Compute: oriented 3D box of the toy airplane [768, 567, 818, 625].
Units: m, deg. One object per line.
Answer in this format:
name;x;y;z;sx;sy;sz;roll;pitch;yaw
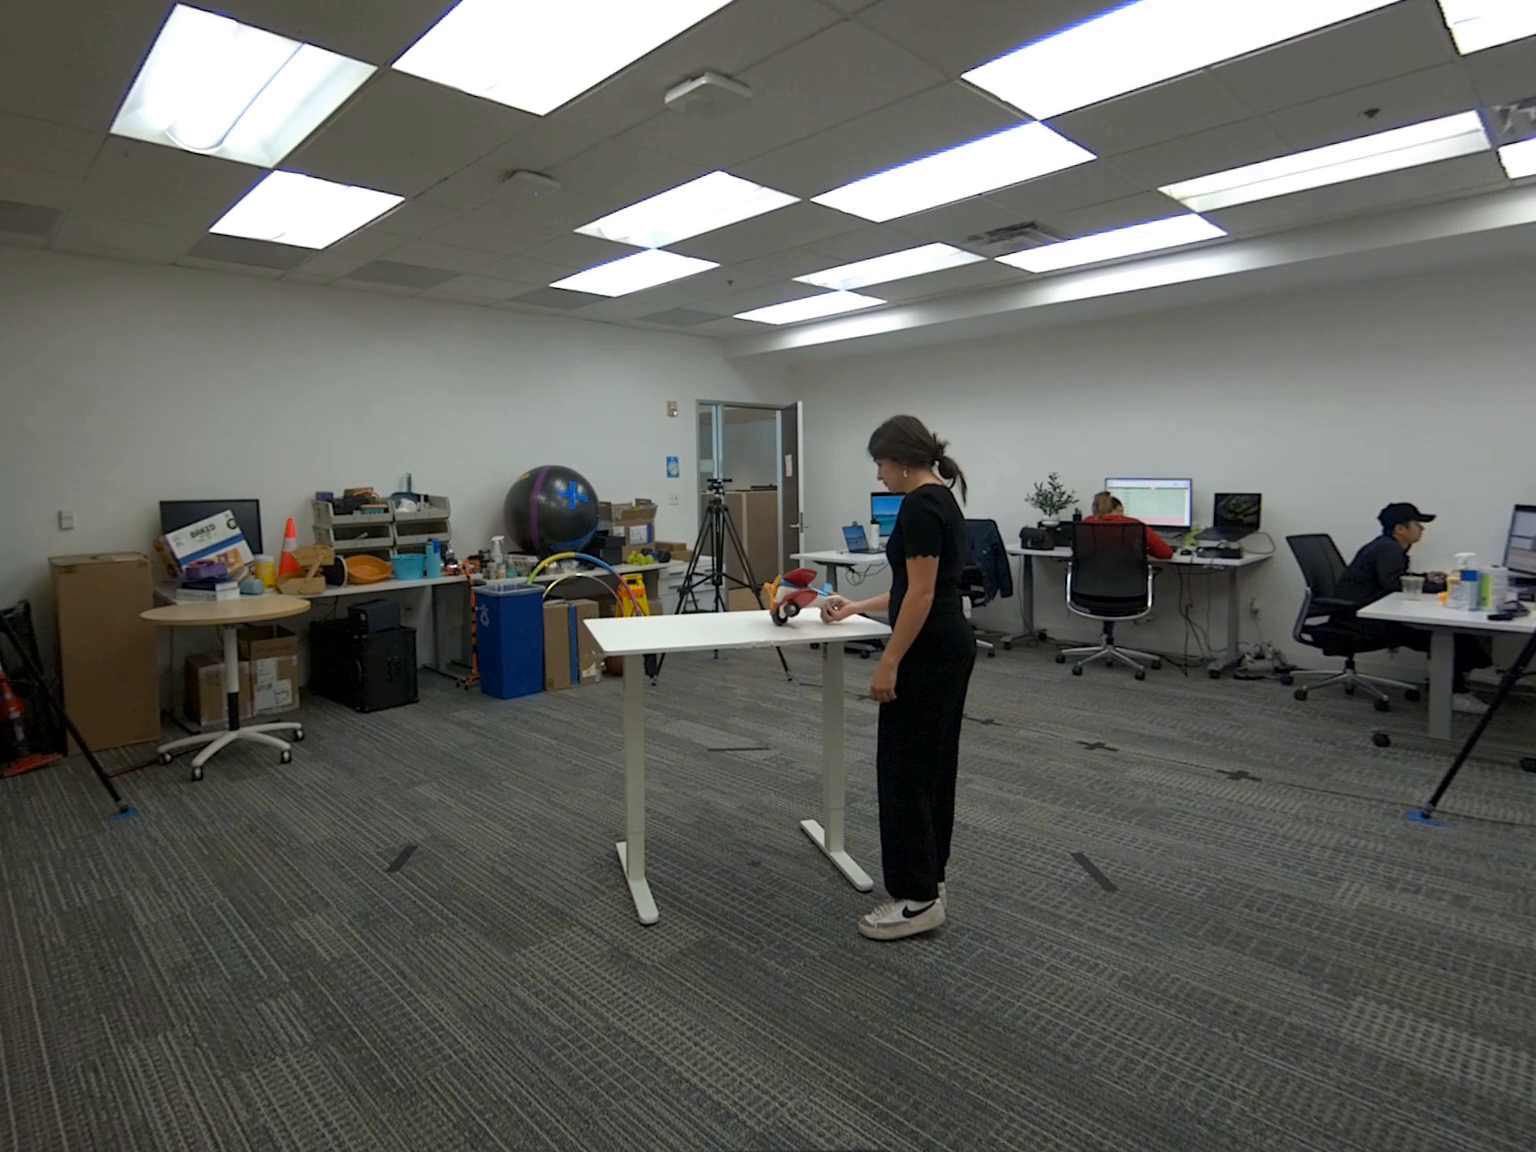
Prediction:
toy airplane;0.115;0.085;3.024;0.254;0.159;0.250;-23;-21;30
